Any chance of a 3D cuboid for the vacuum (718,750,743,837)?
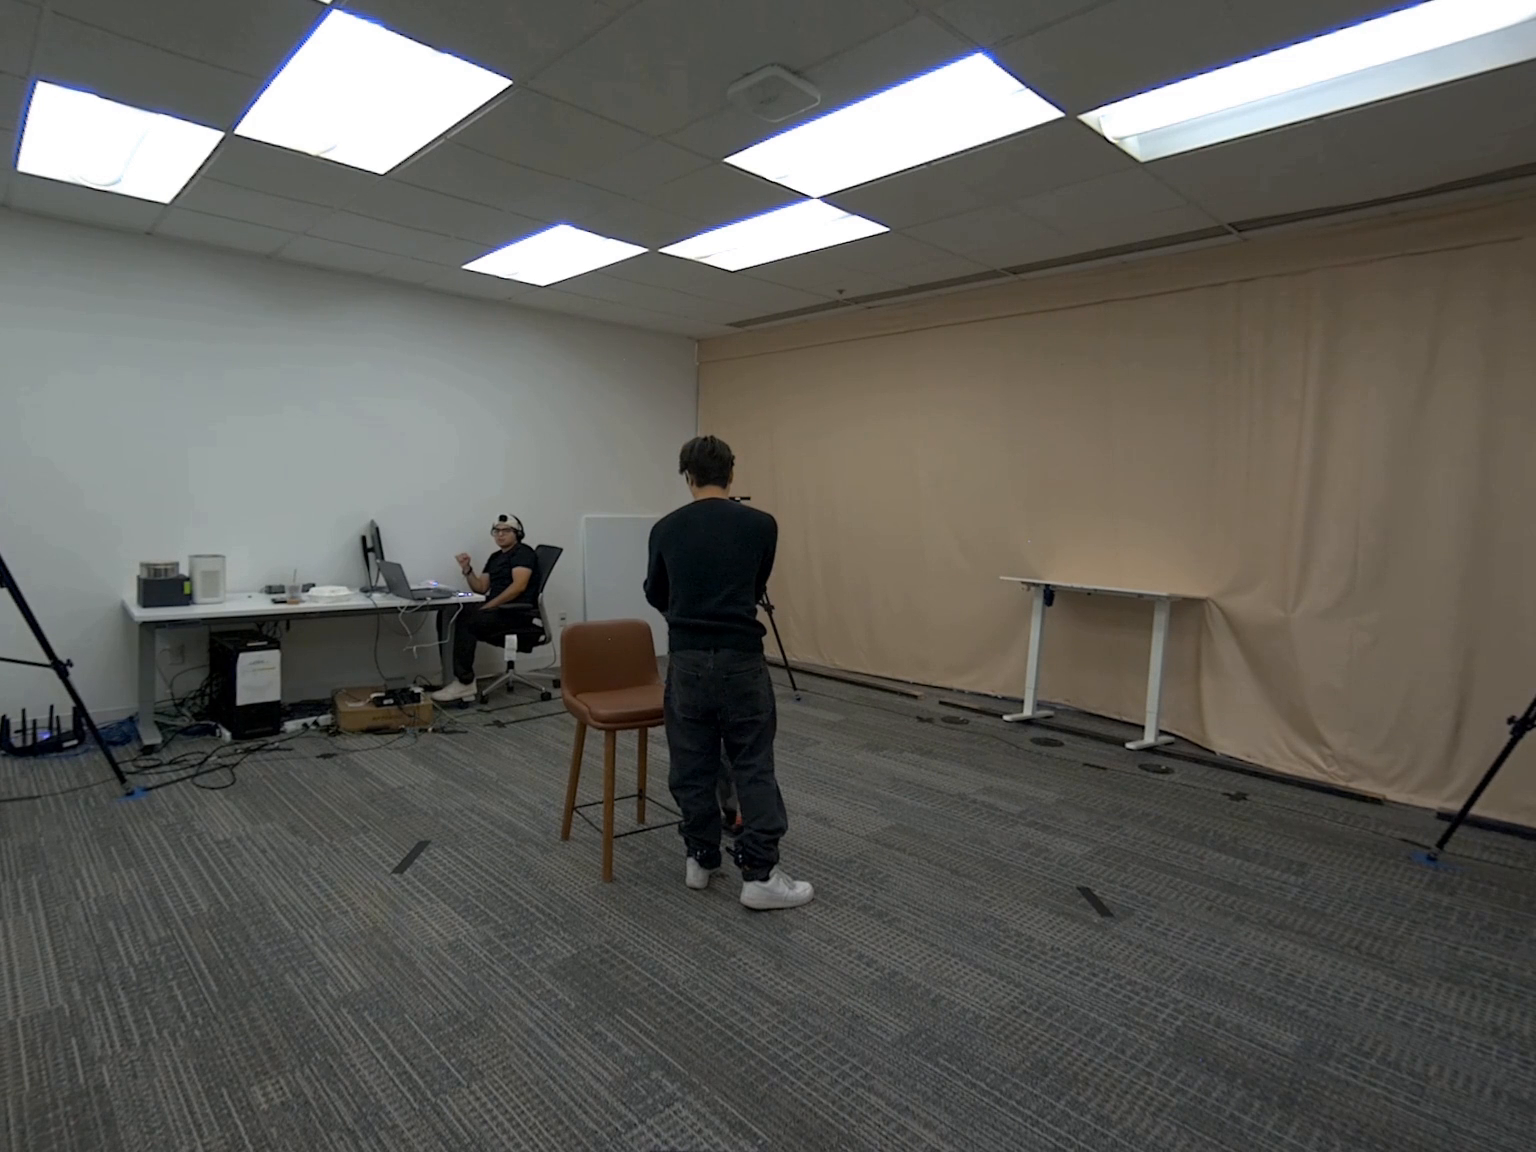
[{"bbox_3d":[-0.243,0.577,3.462,0.142,1.040,0.258,-19,11,-34],"label":"vacuum"}]
